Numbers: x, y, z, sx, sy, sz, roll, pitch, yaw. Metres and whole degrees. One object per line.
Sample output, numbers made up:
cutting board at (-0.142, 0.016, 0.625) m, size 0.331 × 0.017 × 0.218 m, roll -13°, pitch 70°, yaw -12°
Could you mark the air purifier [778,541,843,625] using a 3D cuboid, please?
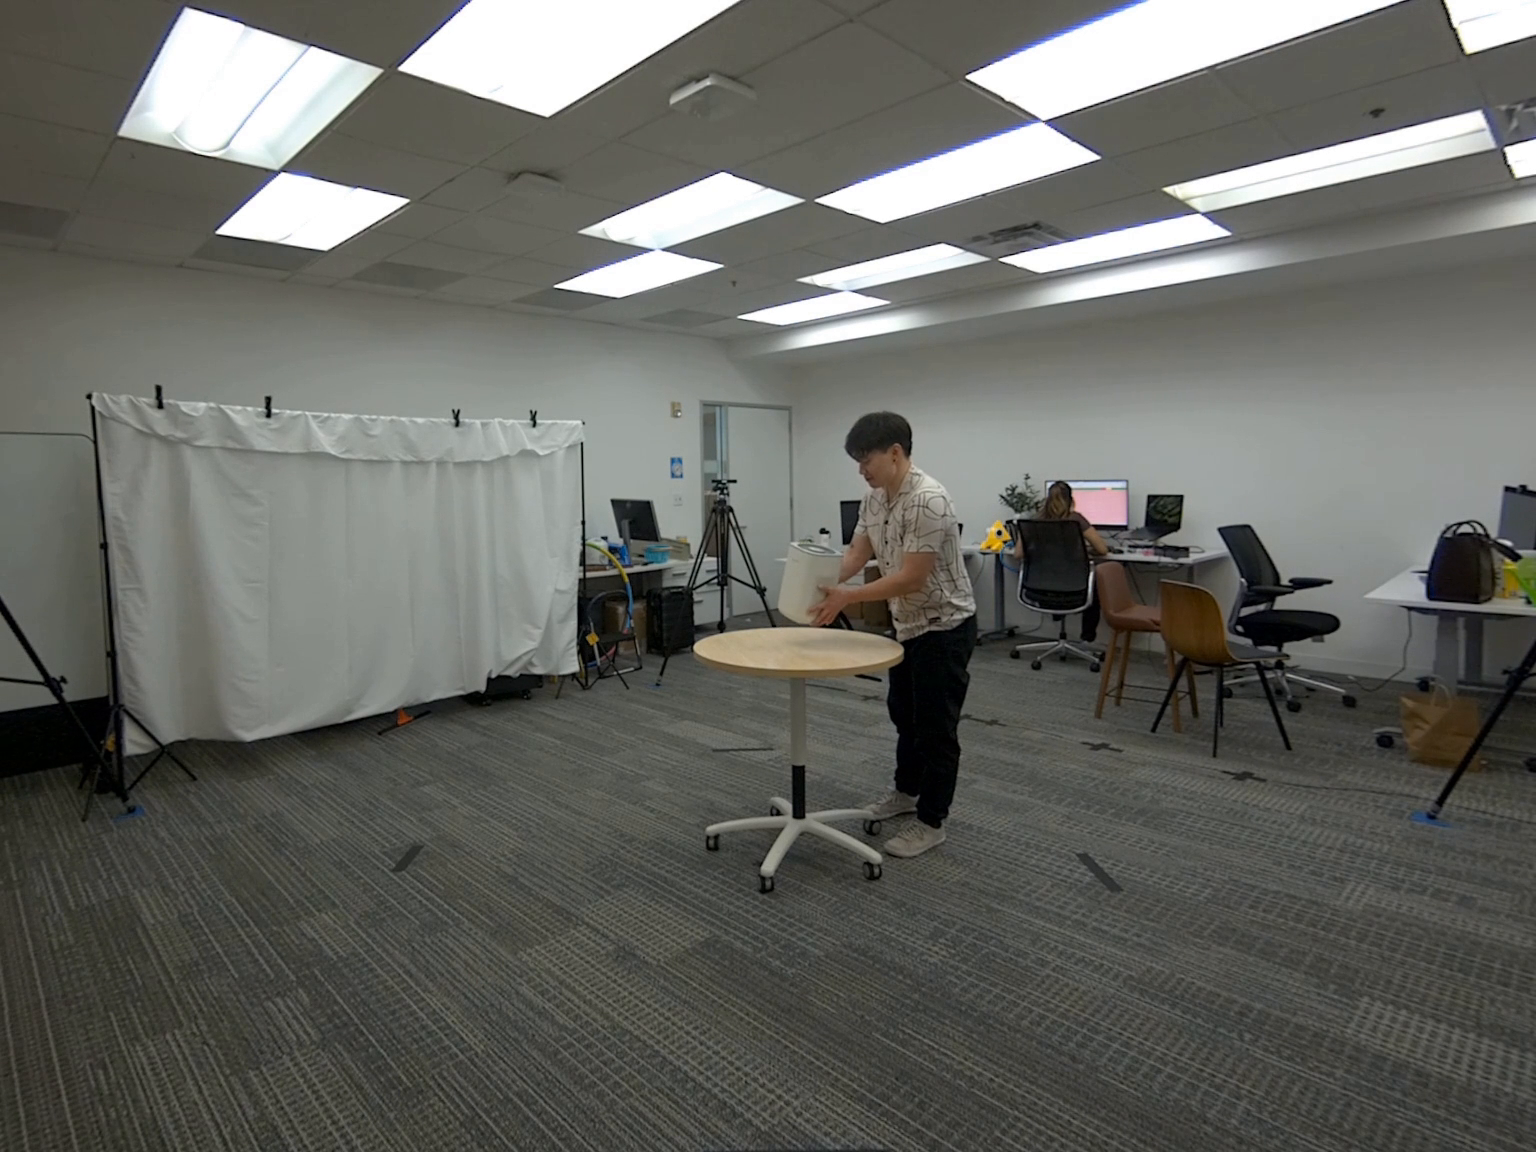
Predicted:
air purifier at (0.165, 0.027, 3.109) m, size 0.167 × 0.263 × 0.177 m, roll 4°, pitch 12°, yaw -34°
